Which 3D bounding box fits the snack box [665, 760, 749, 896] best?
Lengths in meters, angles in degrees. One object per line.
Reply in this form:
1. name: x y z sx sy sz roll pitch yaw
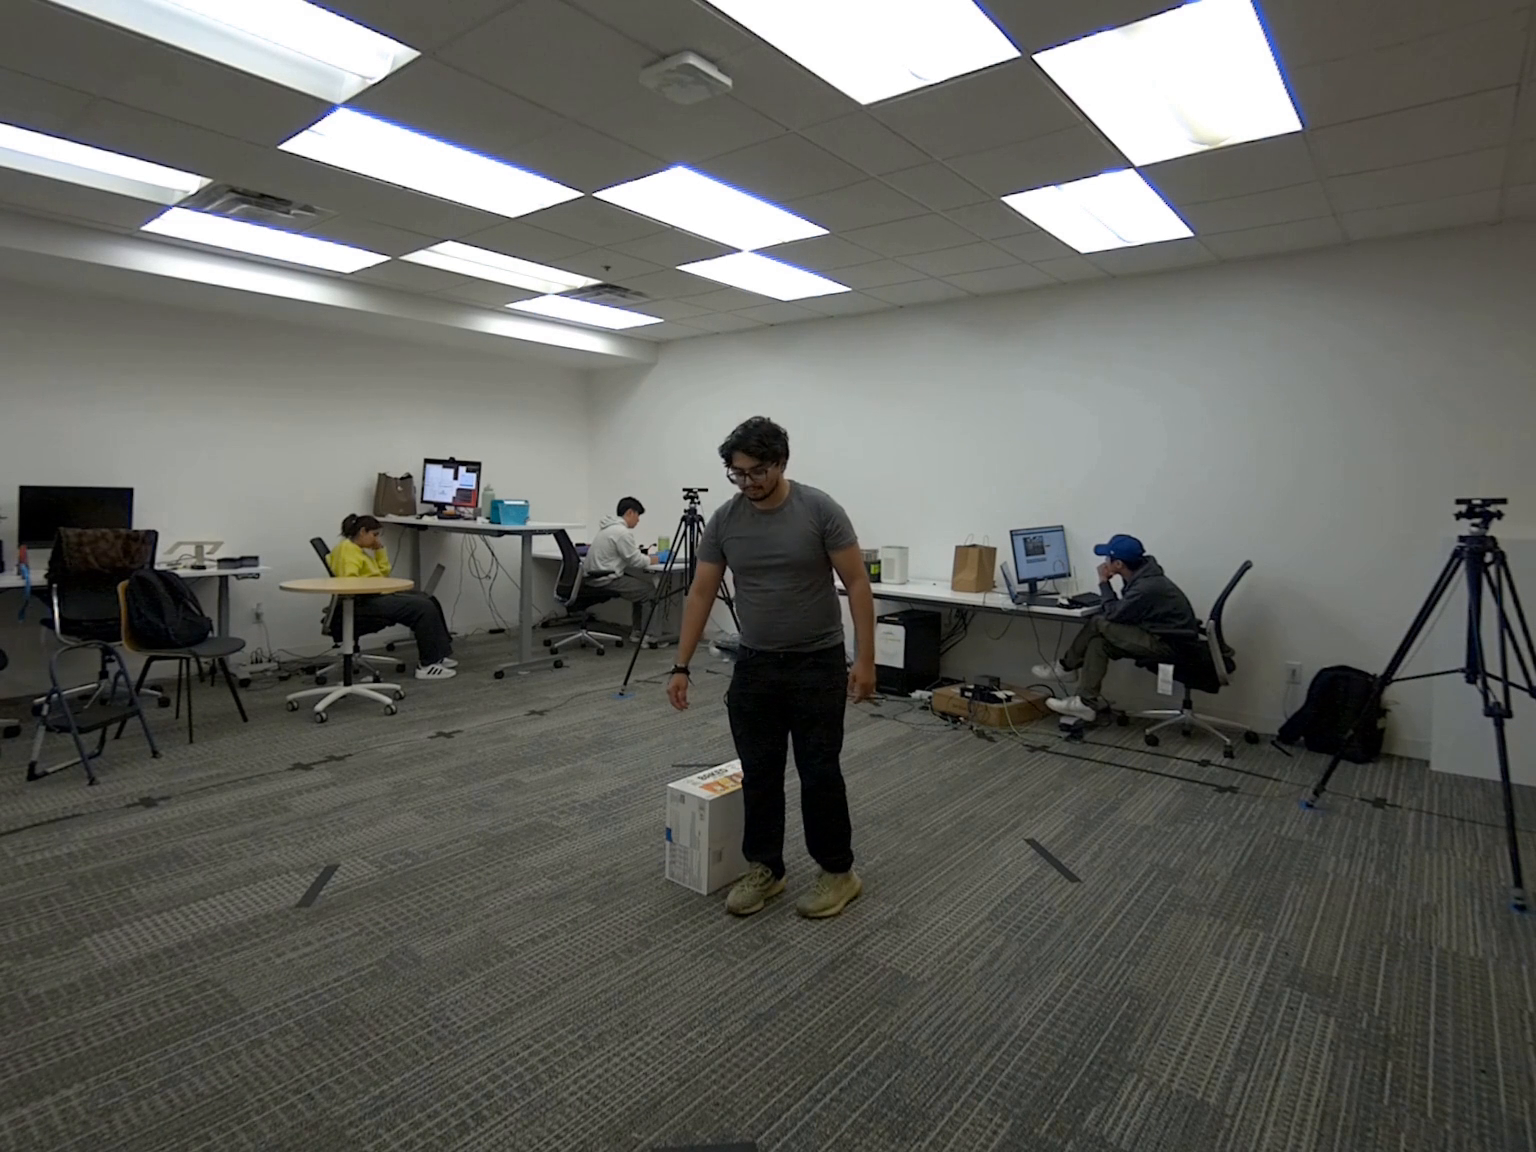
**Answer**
1. snack box: -0.172 0.901 3.106 0.212 0.339 0.393 4 6 39
